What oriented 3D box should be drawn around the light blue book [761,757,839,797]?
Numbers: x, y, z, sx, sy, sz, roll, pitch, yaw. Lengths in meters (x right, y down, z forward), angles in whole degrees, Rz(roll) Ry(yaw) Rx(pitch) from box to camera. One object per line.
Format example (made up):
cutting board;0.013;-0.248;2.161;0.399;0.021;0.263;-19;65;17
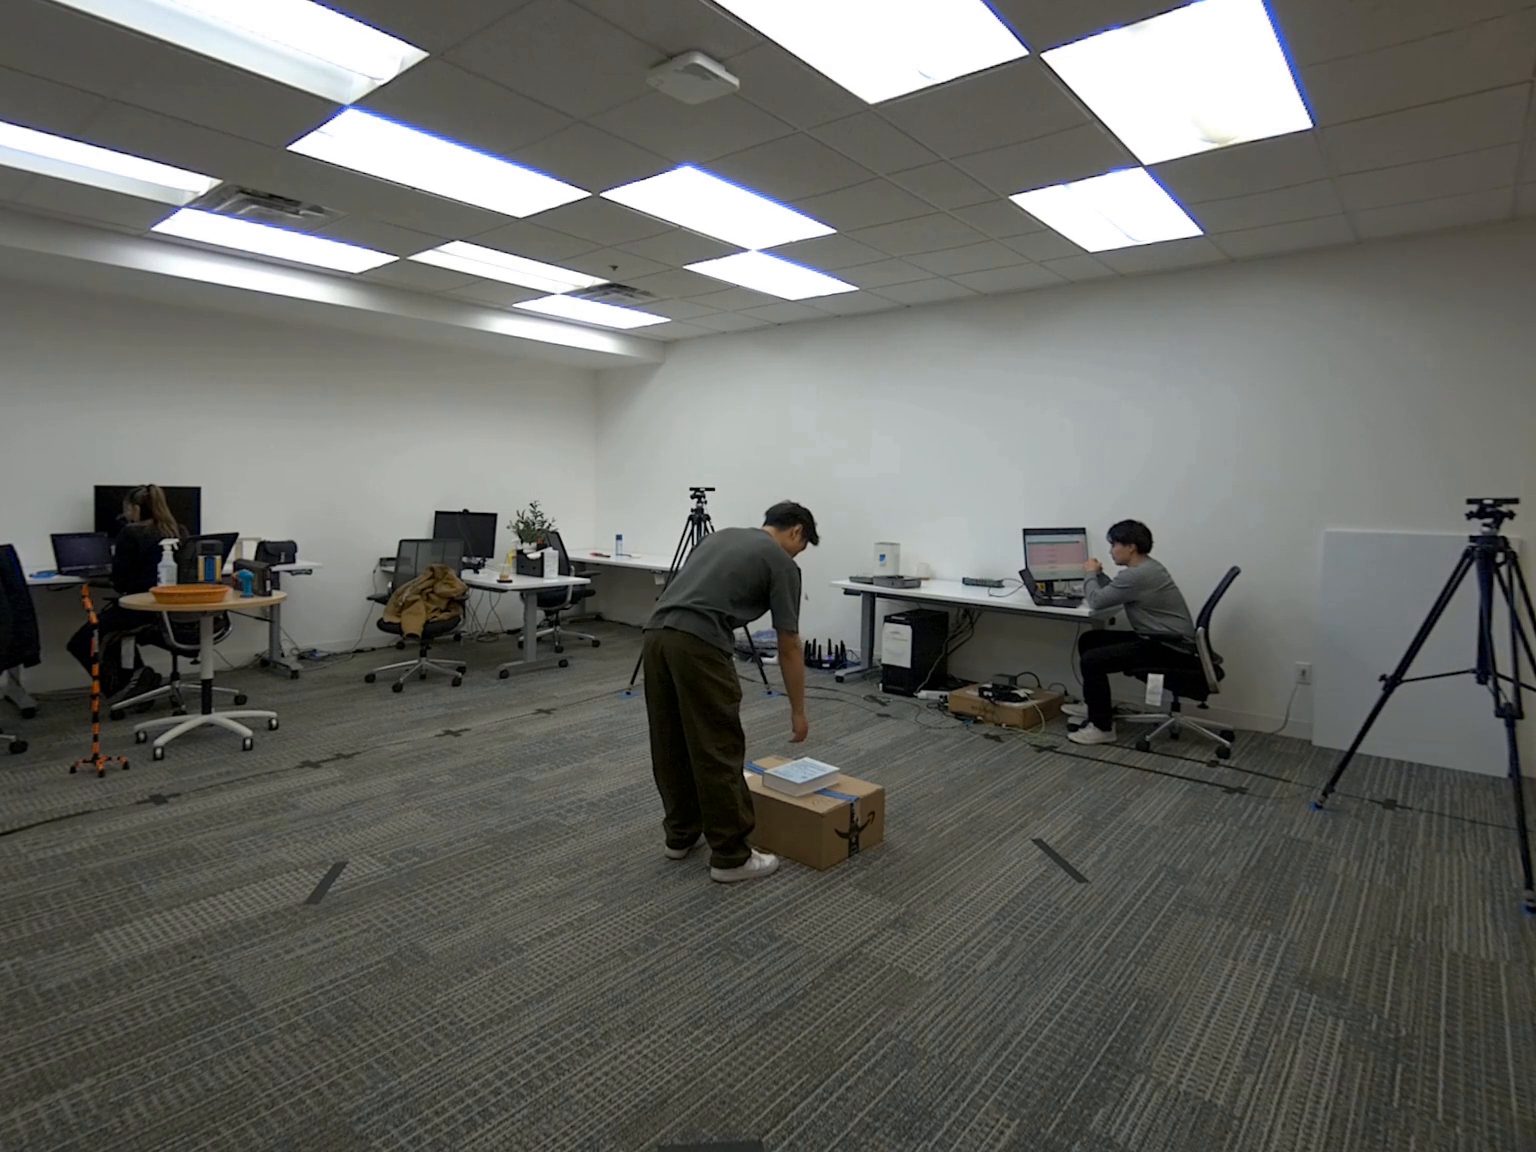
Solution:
light blue book;0.130;0.804;3.431;0.198;0.059;0.253;8;9;44
